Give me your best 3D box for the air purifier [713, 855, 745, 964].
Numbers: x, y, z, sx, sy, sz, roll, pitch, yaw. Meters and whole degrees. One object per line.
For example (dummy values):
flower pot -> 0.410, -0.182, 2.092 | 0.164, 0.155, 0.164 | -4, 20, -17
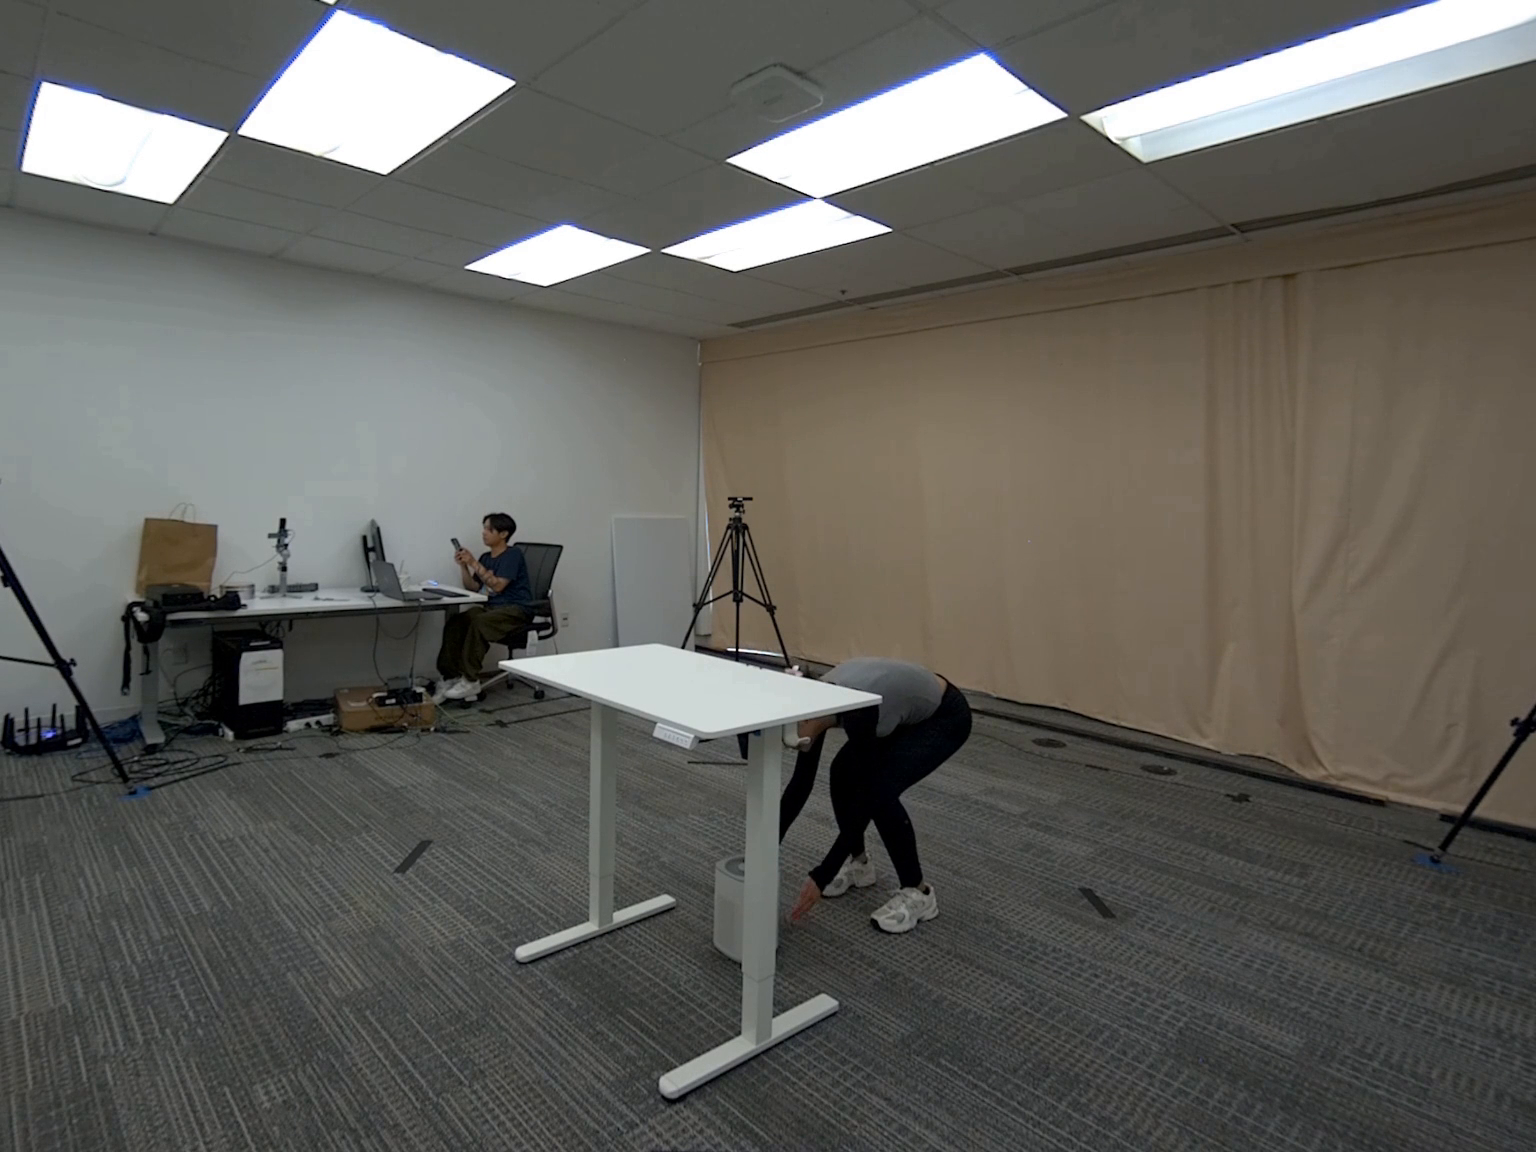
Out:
air purifier -> -0.069, 1.028, 2.579 | 0.167, 0.264, 0.176 | -3, 6, -44
